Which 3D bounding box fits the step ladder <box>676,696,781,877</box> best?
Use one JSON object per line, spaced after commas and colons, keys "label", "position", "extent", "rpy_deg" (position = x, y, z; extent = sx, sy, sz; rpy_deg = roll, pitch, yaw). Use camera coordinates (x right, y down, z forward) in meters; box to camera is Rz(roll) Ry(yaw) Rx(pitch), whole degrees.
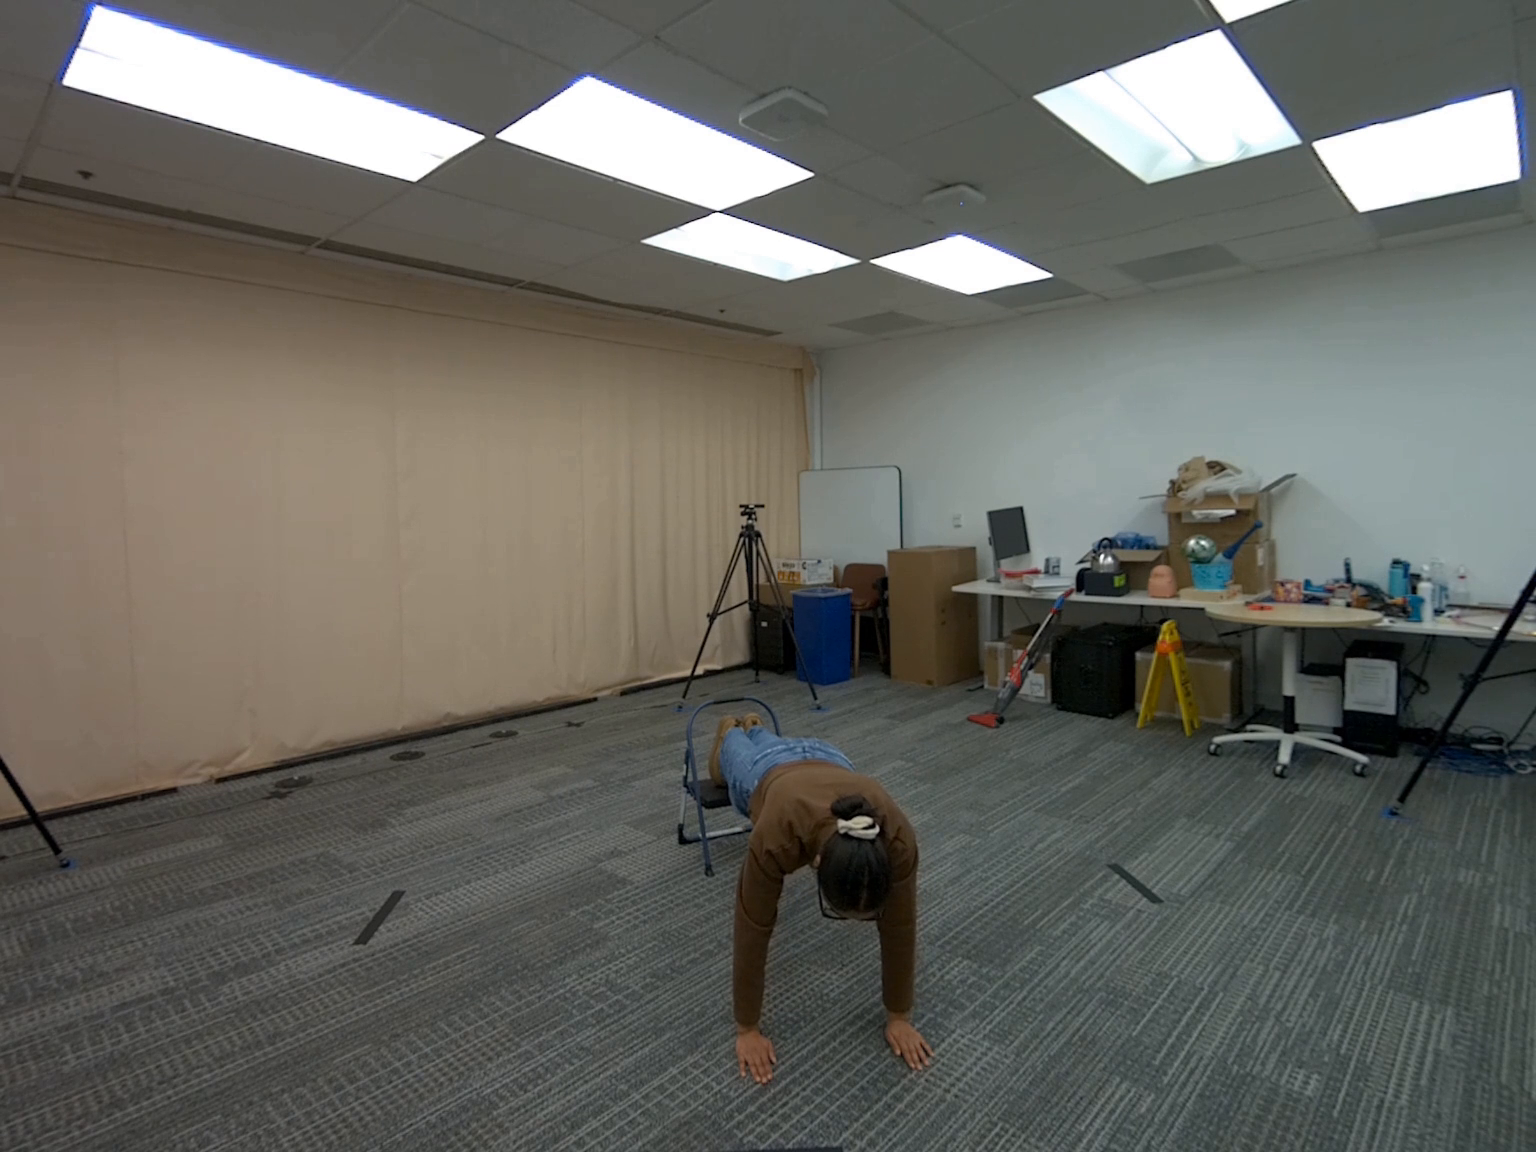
{"label": "step ladder", "position": [-0.120, 0.807, 3.388], "extent": [0.420, 0.605, 0.358], "rpy_deg": [-3, 3, -25]}
